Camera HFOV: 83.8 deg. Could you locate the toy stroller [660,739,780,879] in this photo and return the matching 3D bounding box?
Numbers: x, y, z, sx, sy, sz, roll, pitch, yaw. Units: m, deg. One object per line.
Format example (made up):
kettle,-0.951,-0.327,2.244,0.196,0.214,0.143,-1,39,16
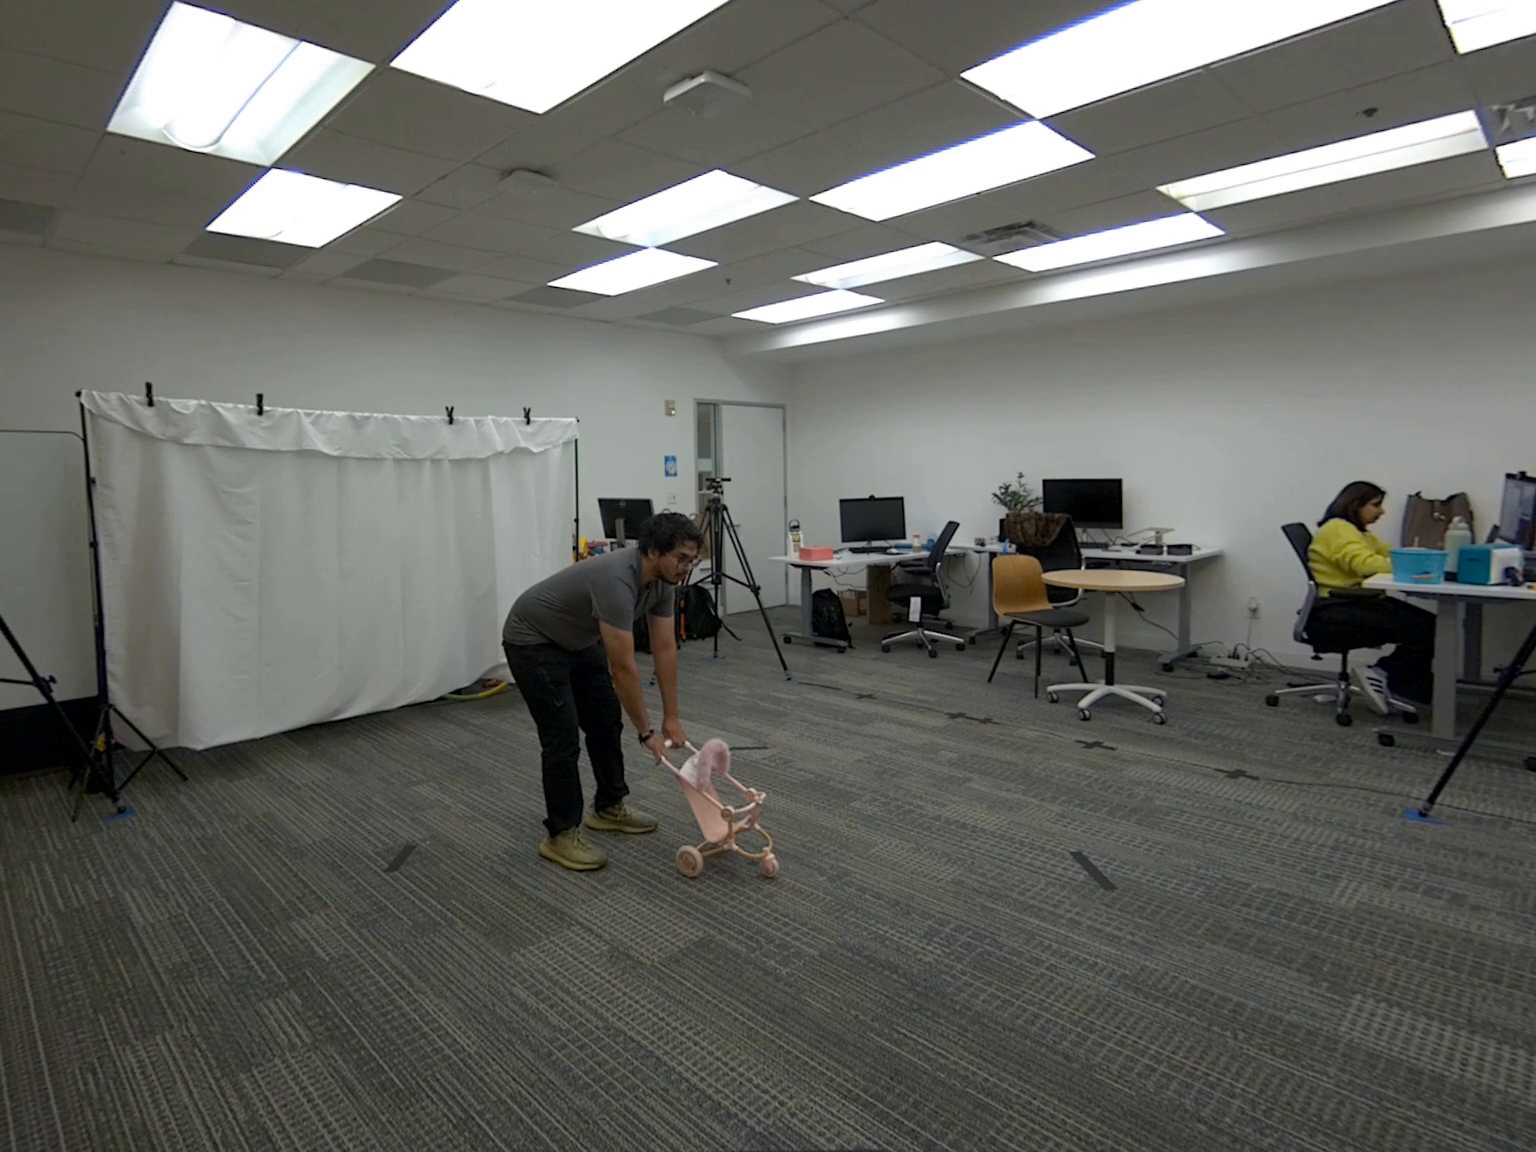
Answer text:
toy stroller,-0.169,0.826,3.065,0.347,0.538,0.275,-19,-5,31
